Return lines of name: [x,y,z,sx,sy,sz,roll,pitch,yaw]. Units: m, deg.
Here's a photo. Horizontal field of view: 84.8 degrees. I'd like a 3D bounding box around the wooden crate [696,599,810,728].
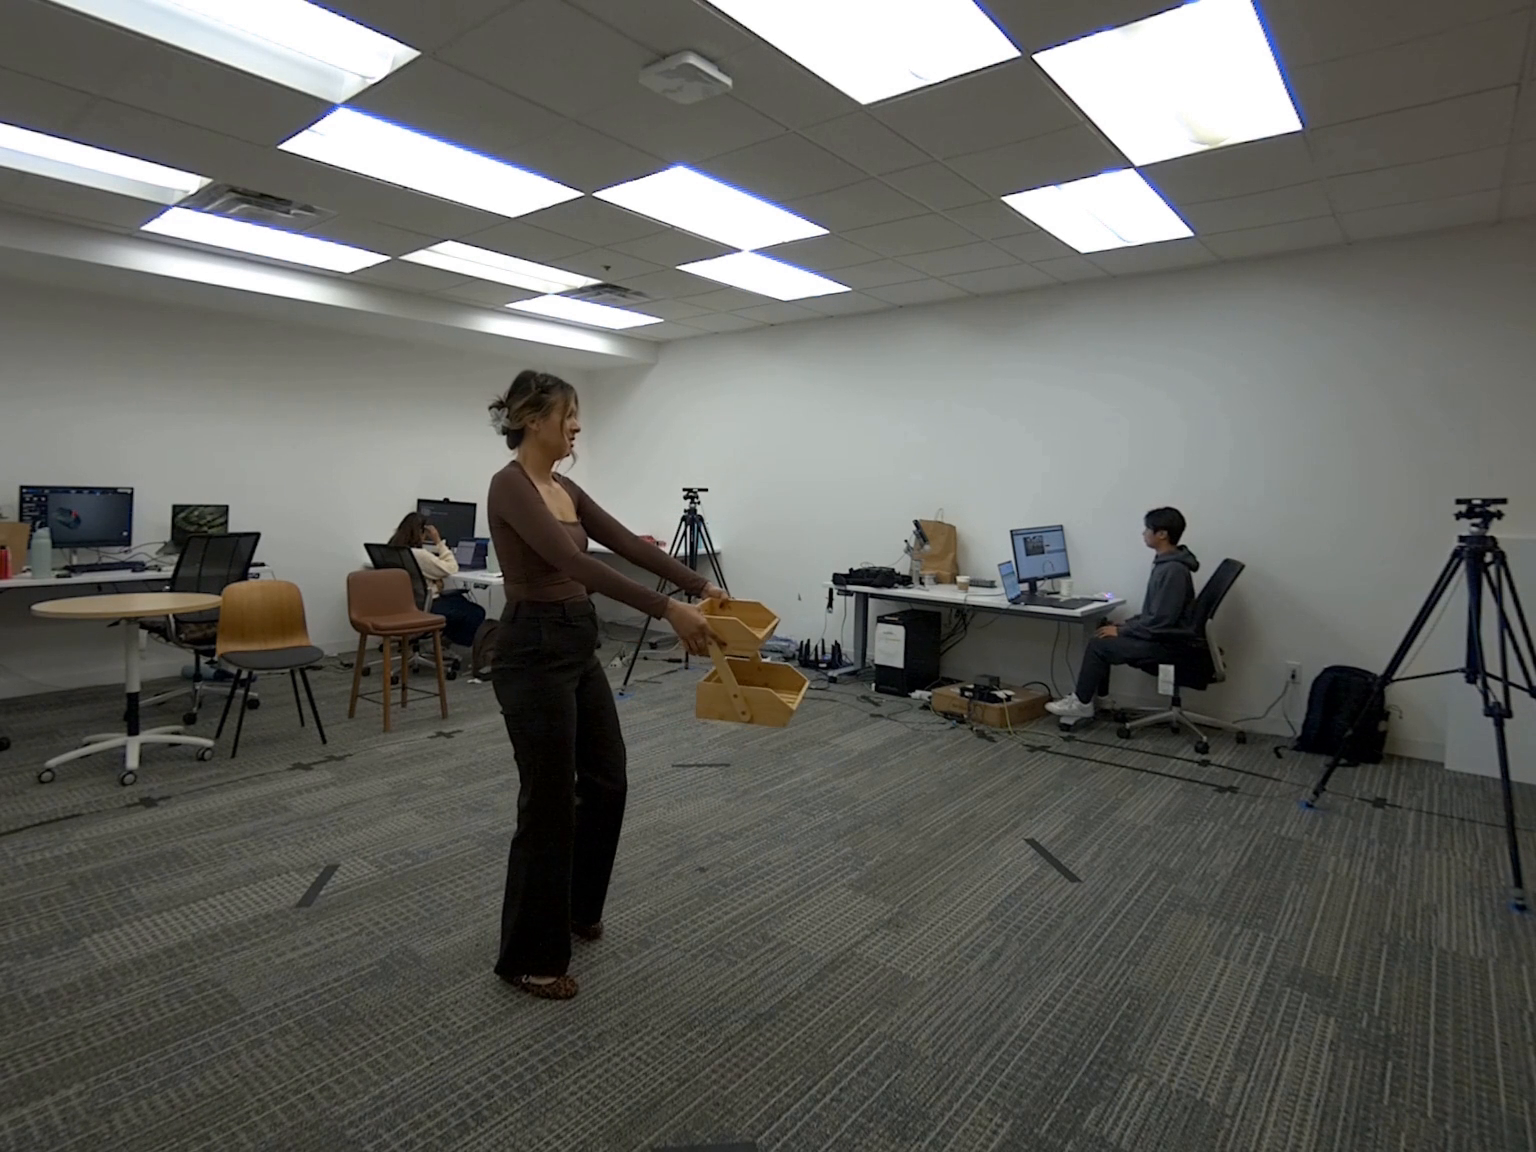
wooden crate: [-0.063,0.212,2.246,0.307,0.272,0.321,3,5,13]
